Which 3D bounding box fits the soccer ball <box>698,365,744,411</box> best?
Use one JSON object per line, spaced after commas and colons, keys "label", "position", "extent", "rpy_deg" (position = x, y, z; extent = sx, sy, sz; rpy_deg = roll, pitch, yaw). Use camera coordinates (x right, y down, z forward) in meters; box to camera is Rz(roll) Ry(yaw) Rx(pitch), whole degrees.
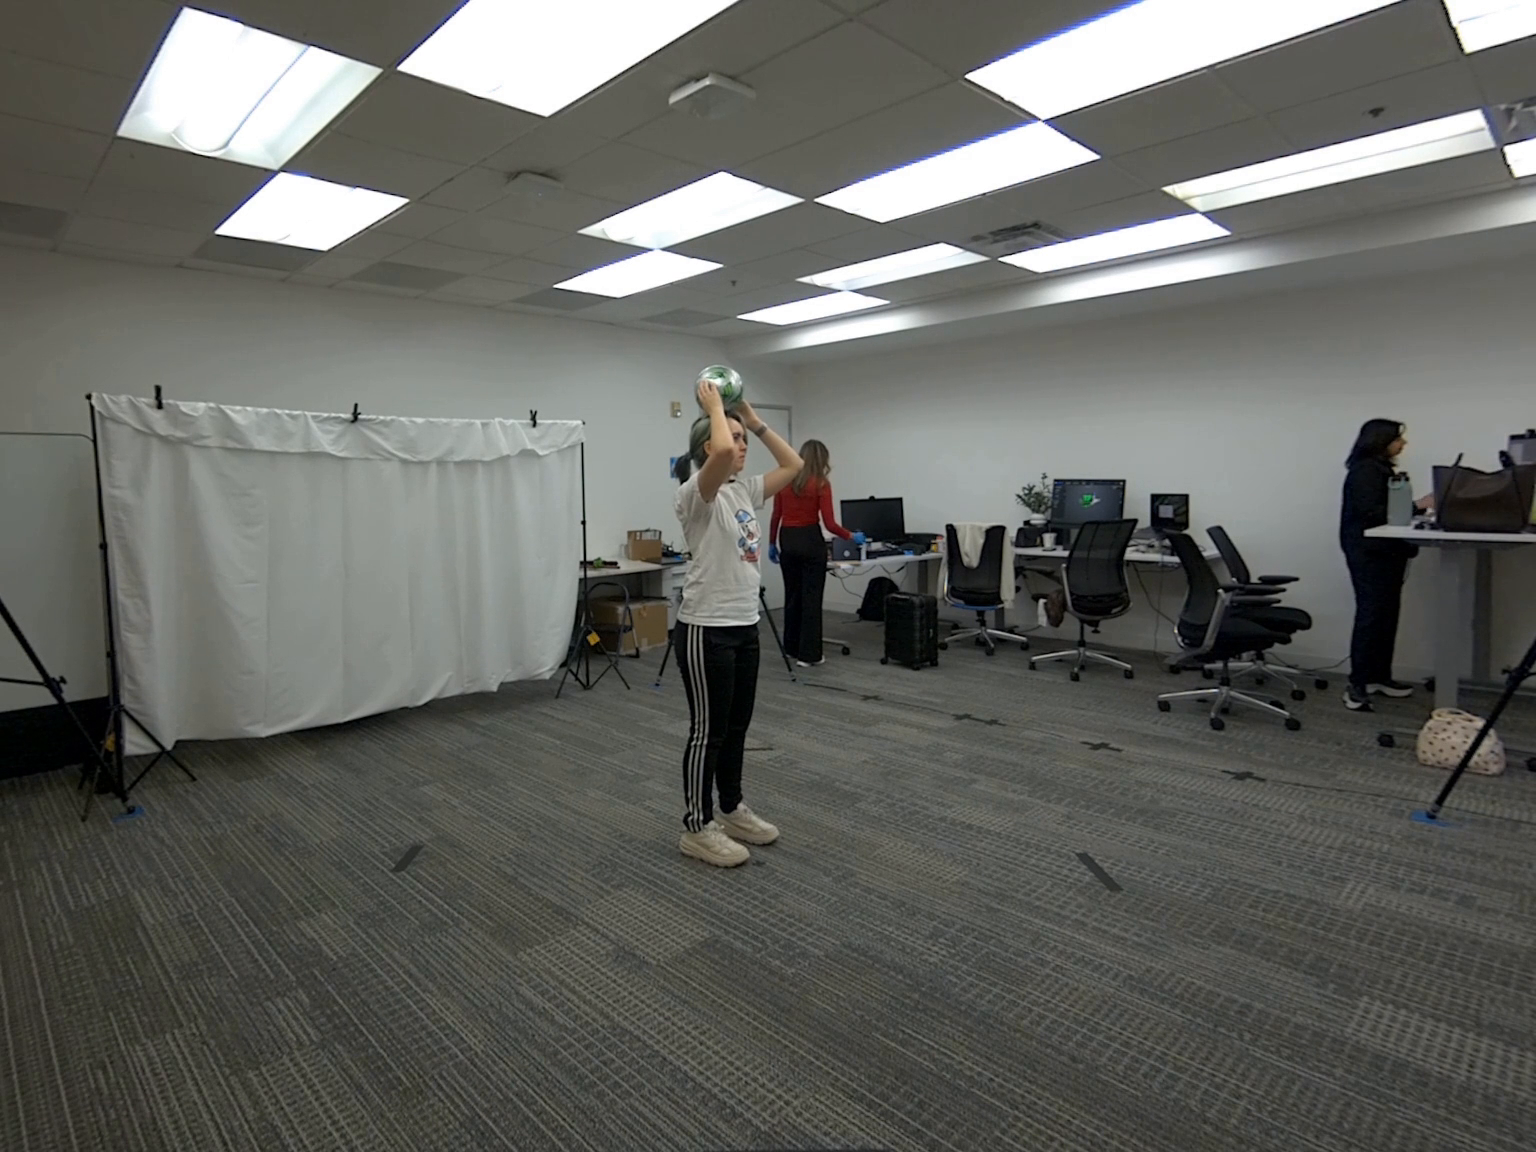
{"label": "soccer ball", "position": [-0.184, -0.692, 3.189], "extent": [0.187, 0.187, 0.188], "rpy_deg": [-1, 5, -2]}
